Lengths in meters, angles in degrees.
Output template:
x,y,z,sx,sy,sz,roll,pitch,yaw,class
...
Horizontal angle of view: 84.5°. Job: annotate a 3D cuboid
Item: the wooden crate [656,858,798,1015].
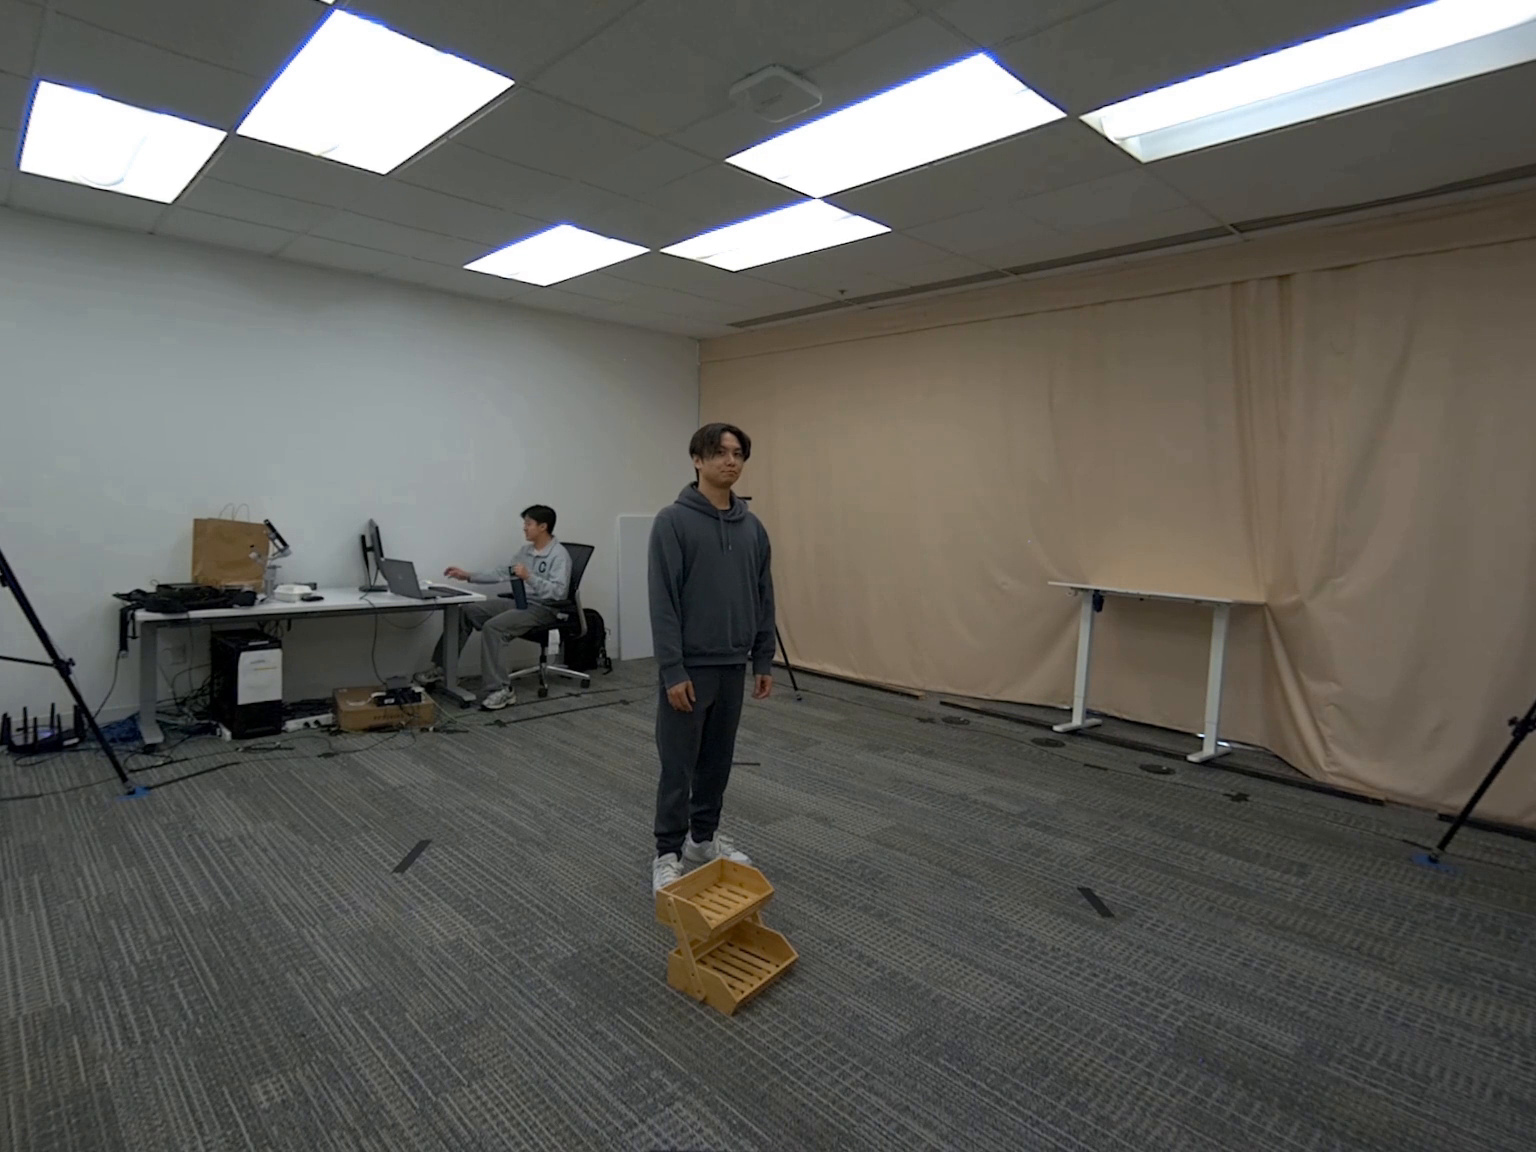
x,y,z,sx,sy,sz,roll,pitch,yaw,class
-0.117,1.037,2.448,0.309,0.272,0.317,4,5,36,wooden crate
